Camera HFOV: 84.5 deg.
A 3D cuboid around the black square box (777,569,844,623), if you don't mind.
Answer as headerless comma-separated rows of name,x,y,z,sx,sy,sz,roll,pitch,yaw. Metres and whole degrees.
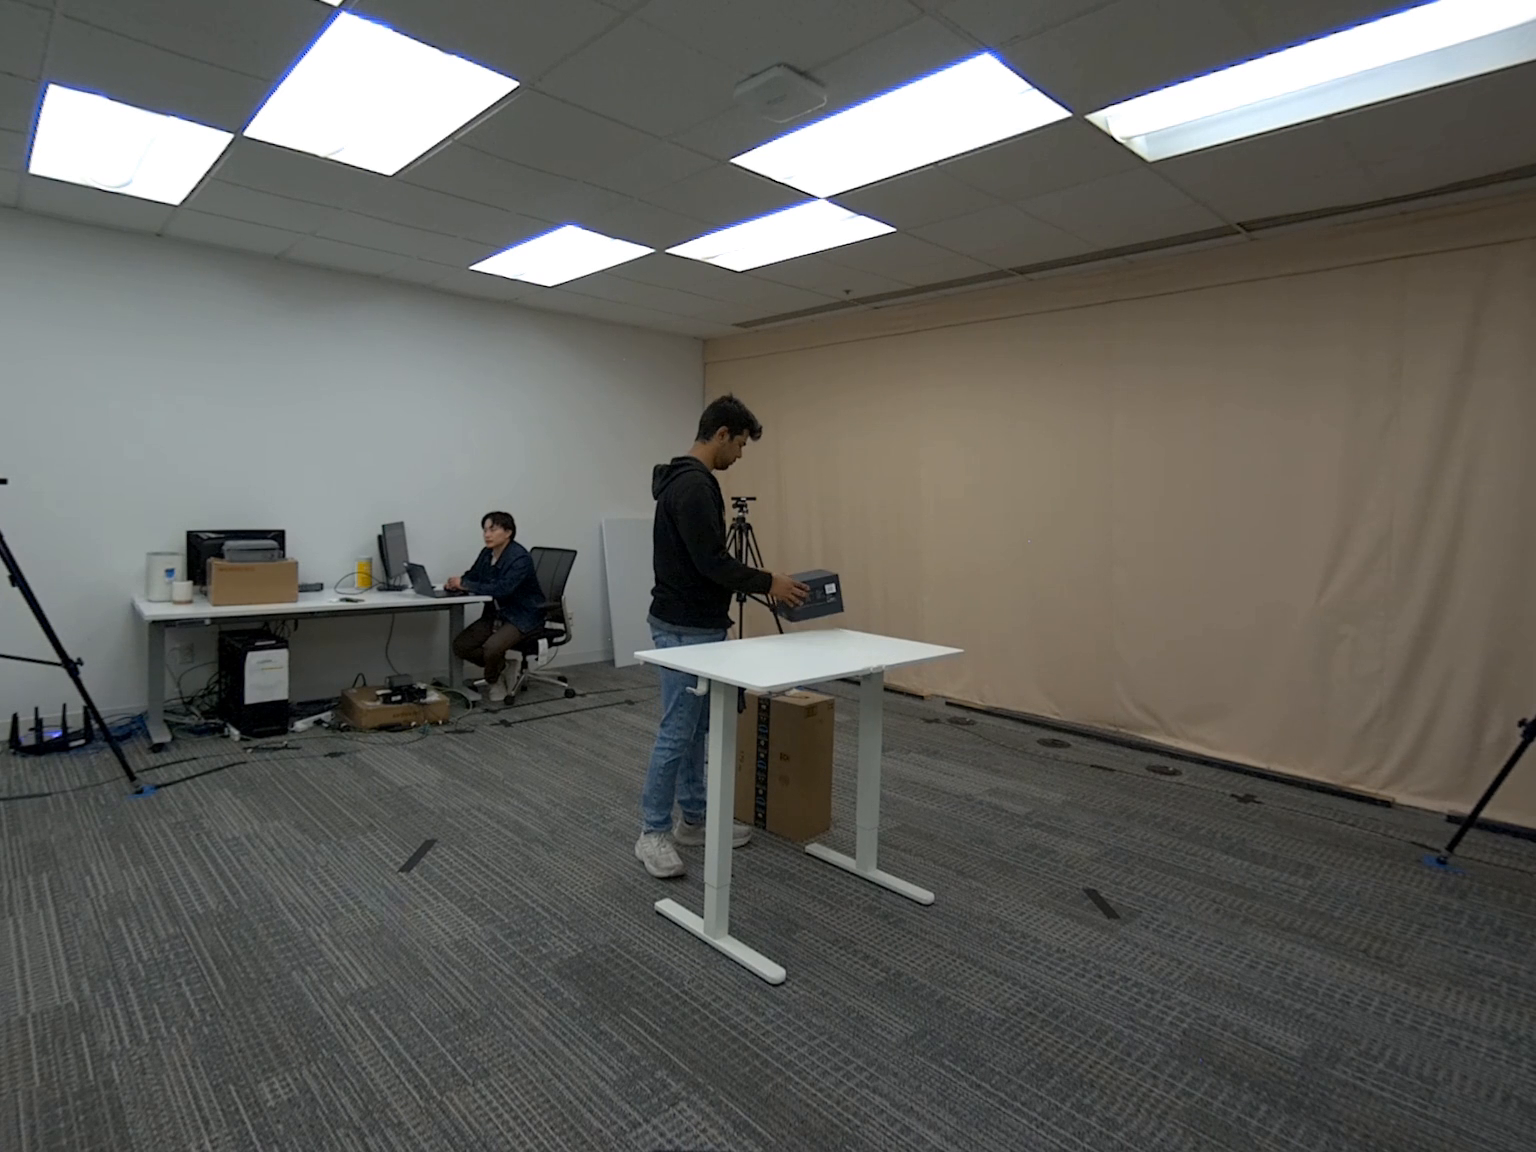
black square box,0.148,0.084,3.395,0.216,0.155,0.230,-10,8,-7
